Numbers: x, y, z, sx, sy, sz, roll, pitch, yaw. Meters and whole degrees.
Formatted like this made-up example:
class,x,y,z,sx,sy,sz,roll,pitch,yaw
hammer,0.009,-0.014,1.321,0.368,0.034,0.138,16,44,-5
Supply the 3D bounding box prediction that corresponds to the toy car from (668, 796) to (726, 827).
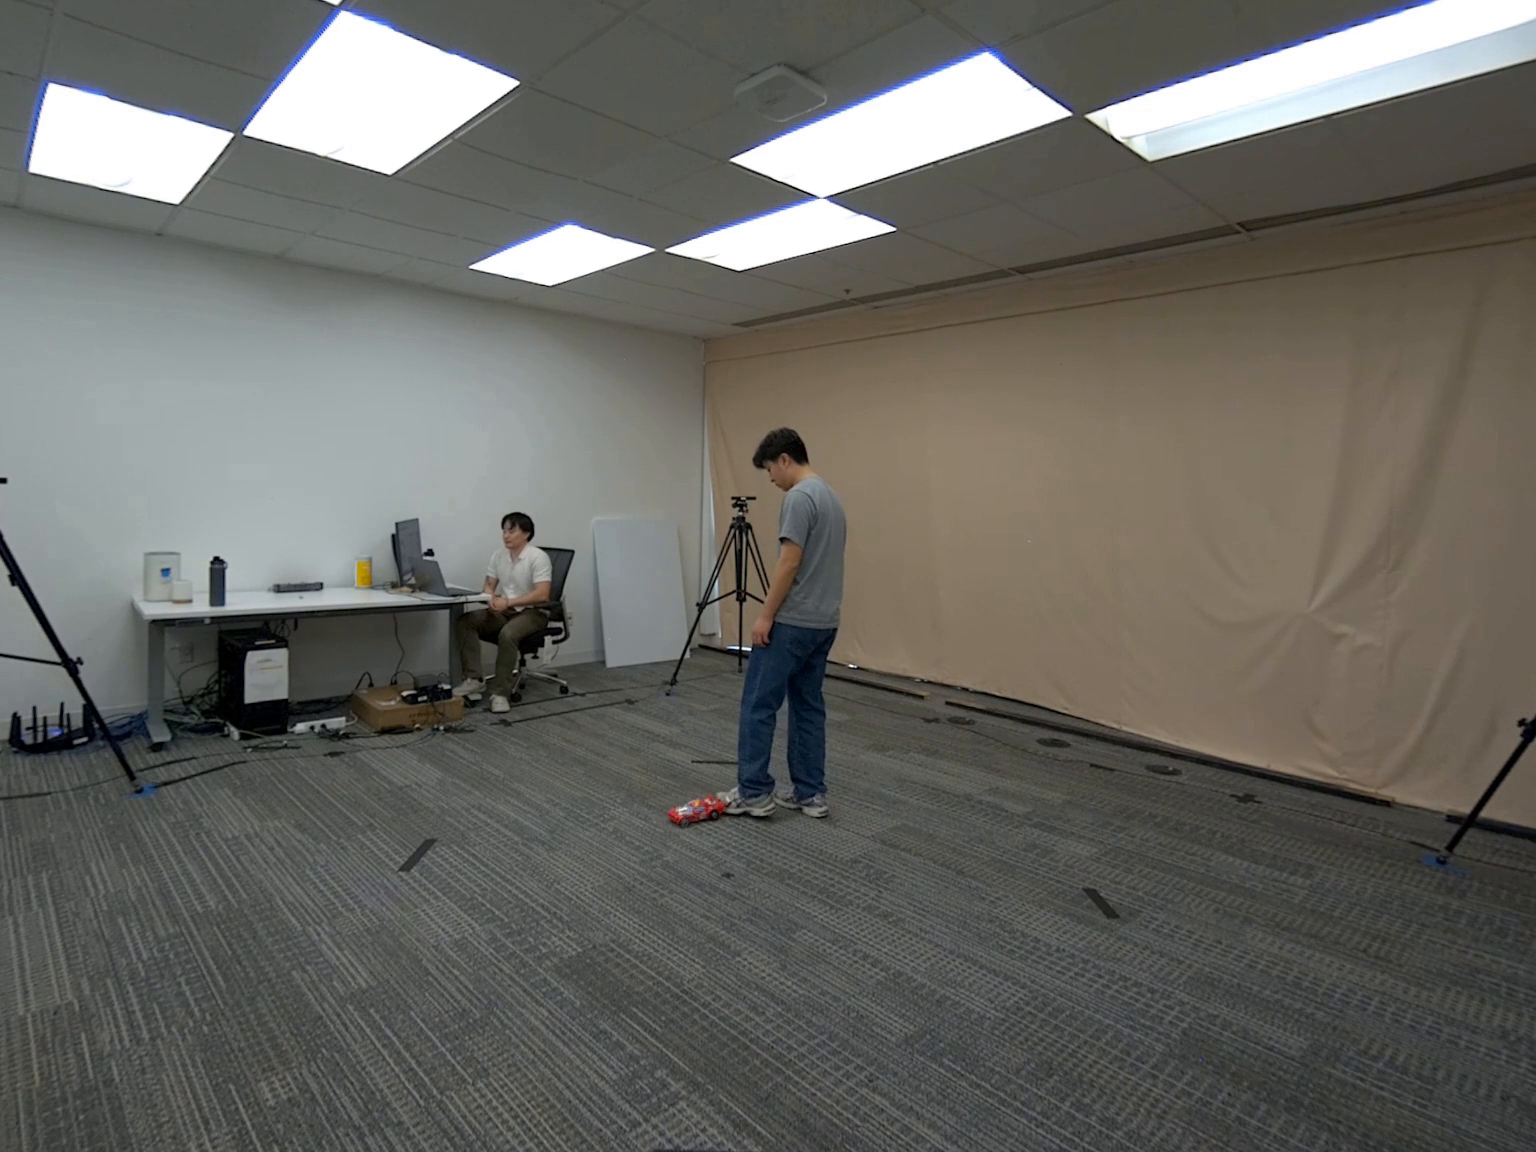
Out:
class,x,y,z,sx,sy,sz,roll,pitch,yaw
toy car,-0.319,1.021,3.645,0.250,0.082,0.133,-15,12,-31
